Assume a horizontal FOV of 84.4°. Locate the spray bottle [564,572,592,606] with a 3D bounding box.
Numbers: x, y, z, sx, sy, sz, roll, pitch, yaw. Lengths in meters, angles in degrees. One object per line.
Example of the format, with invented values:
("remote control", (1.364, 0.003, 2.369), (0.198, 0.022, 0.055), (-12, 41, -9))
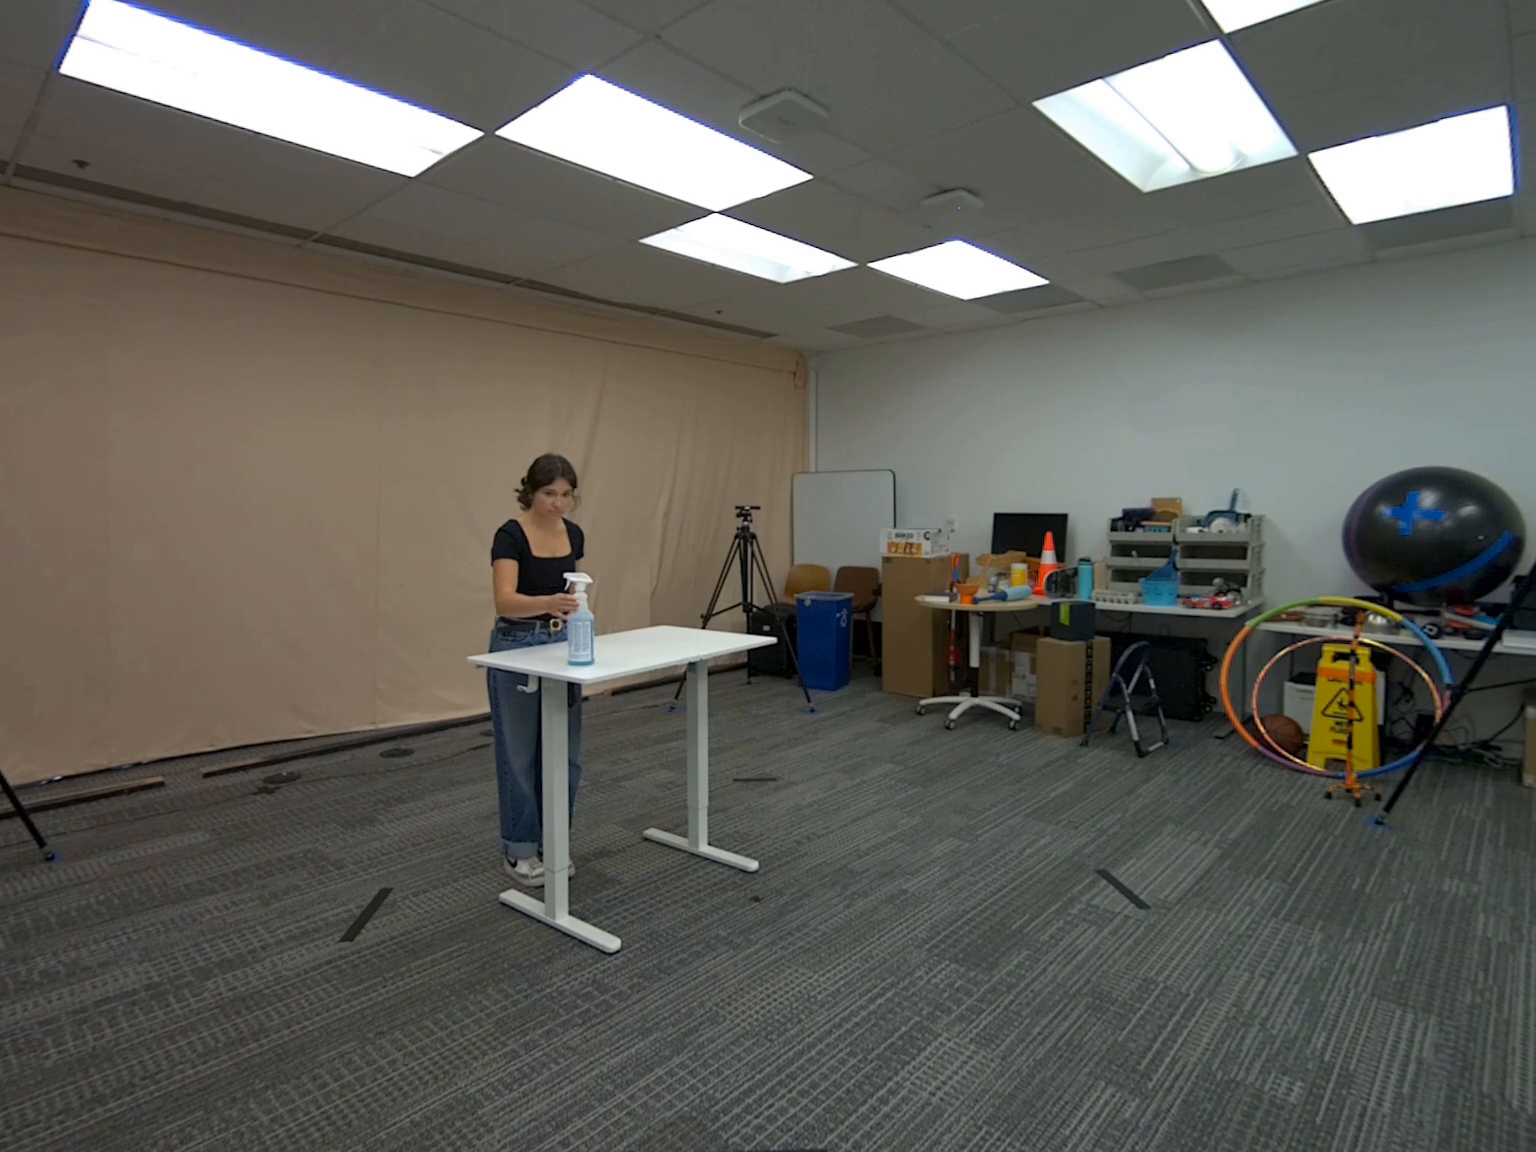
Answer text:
("spray bottle", (-0.608, 0.143, 2.720), (0.092, 0.296, 0.085), (-1, 5, 21))
